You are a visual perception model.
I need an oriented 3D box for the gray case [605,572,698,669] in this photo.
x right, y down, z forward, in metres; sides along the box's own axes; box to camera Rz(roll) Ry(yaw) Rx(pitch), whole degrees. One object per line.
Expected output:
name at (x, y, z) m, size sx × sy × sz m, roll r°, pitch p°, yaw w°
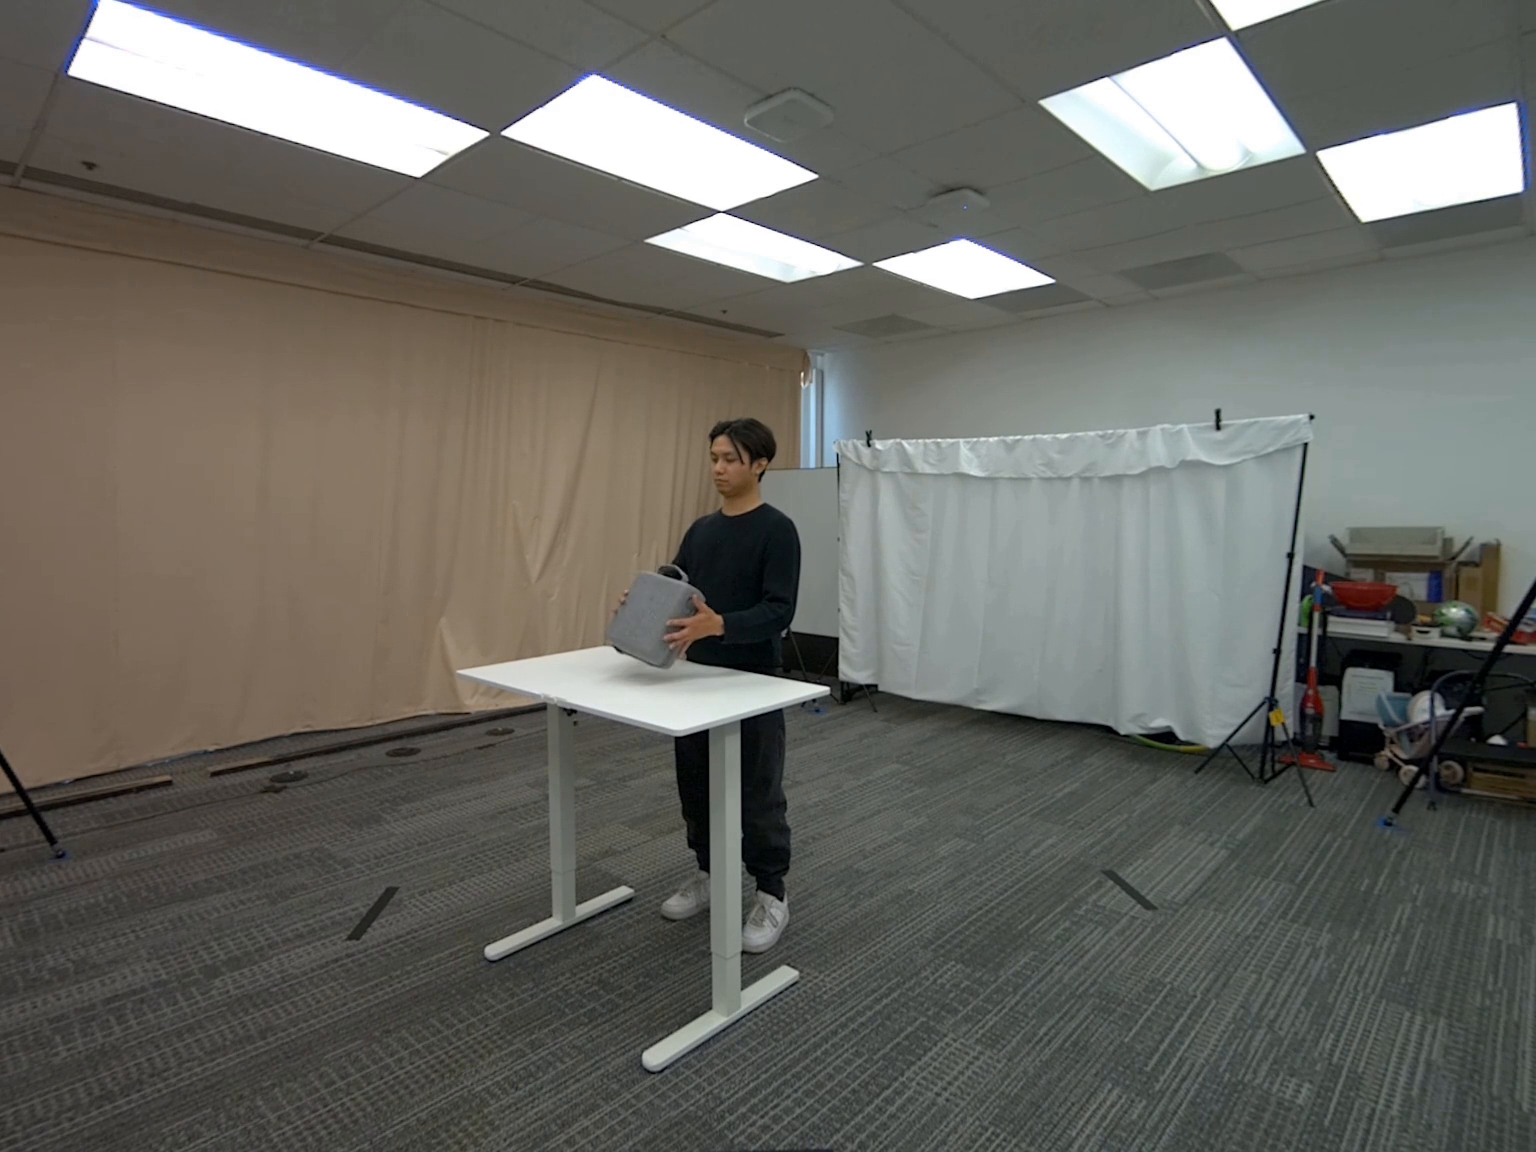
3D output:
gray case at (-0.331, 0.128, 2.505) m, size 0.266 × 0.261 × 0.100 m, roll 14°, pitch -18°, yaw 46°
